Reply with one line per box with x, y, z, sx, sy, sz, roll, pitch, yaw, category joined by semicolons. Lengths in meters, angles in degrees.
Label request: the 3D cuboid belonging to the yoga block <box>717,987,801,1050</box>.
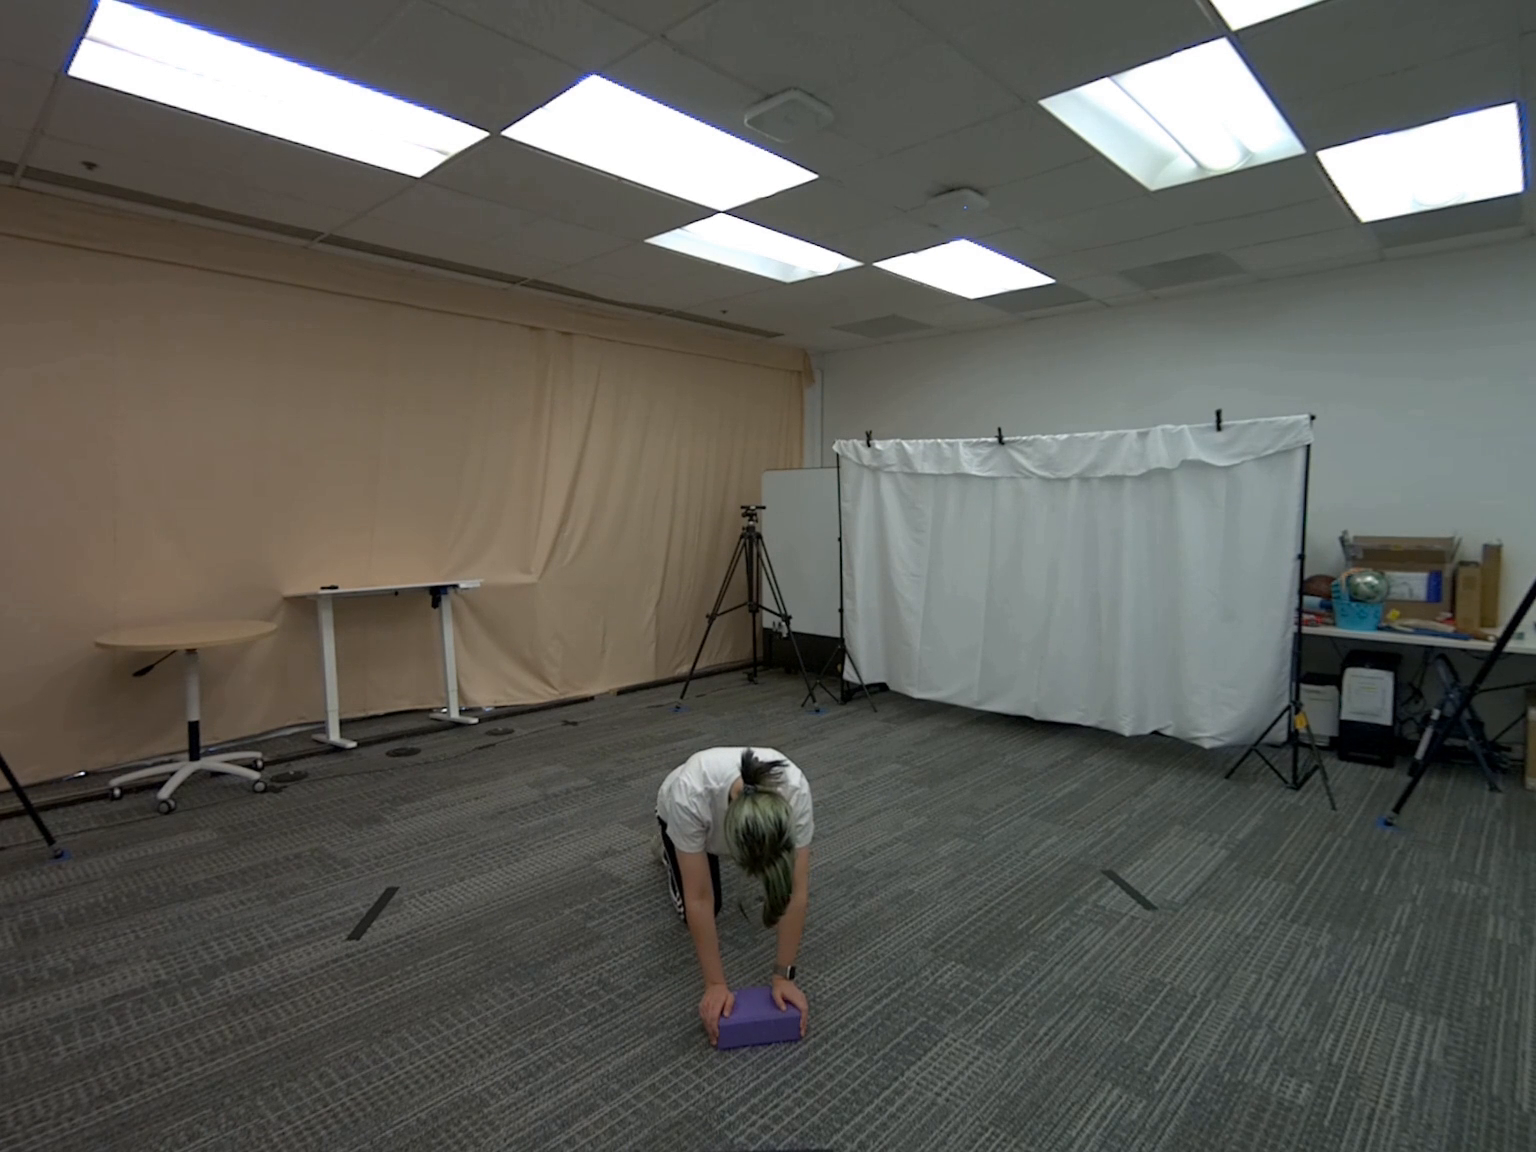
-0.038;1.168;2.244;0.227;0.076;0.151;0;5;-11;yoga block
